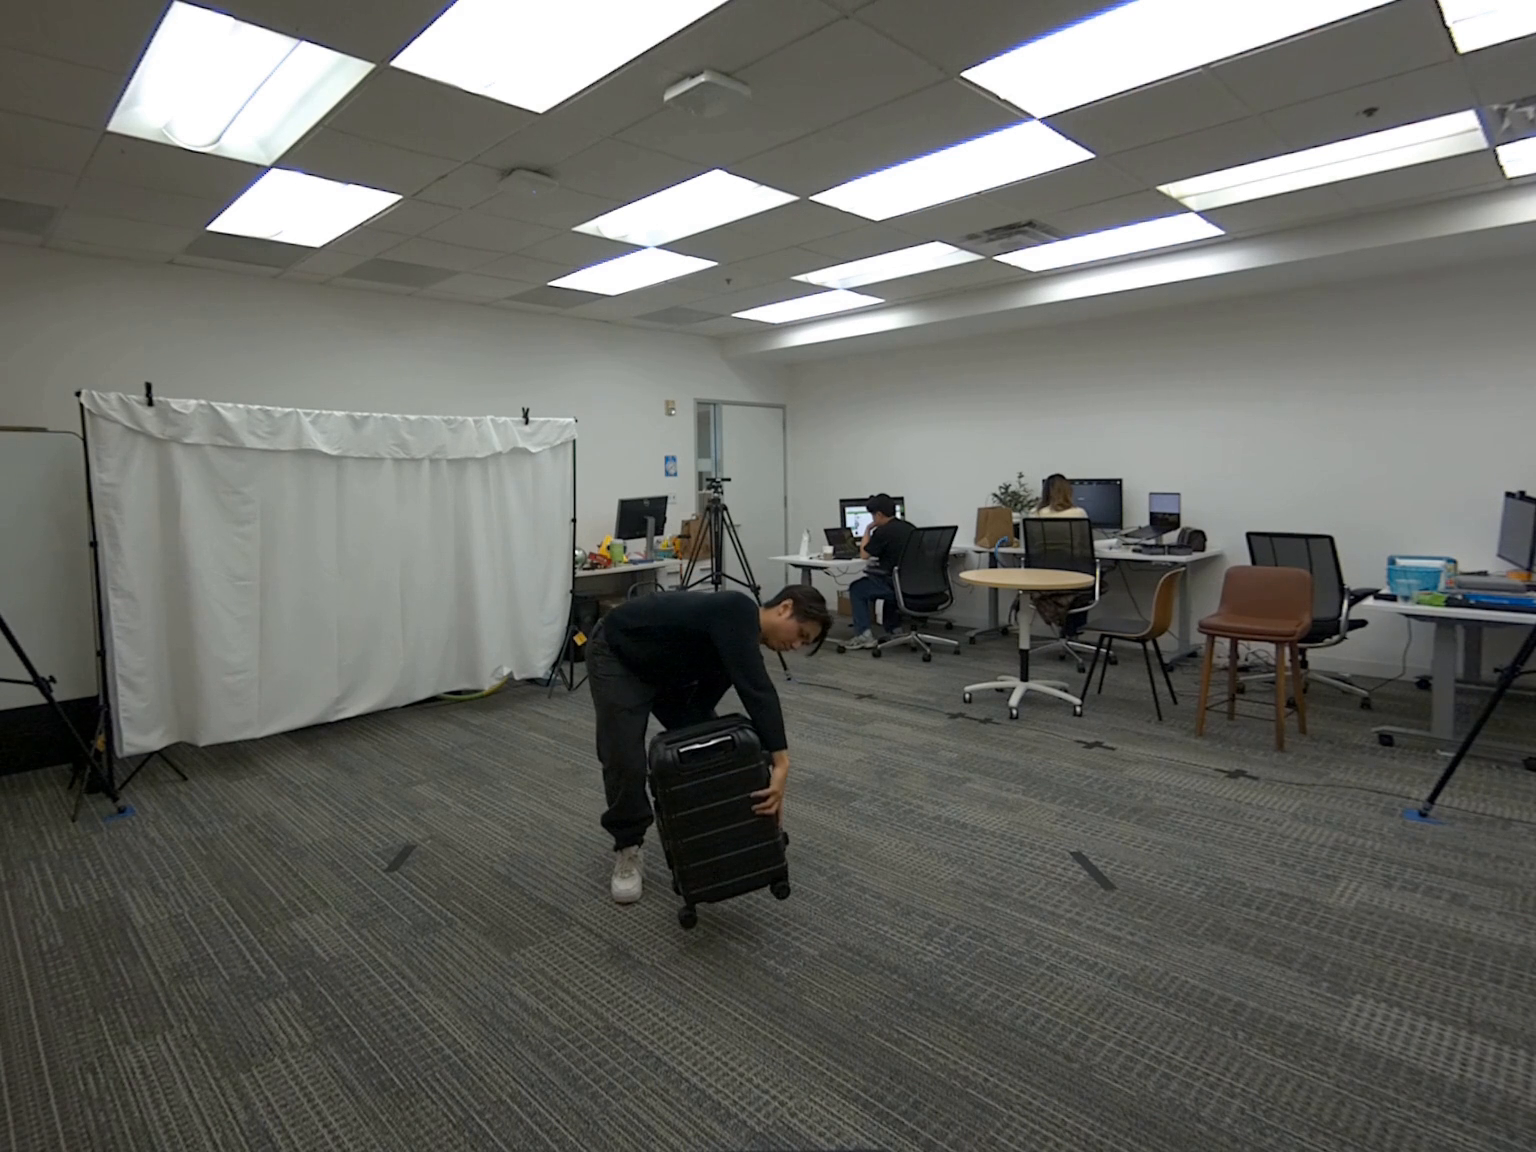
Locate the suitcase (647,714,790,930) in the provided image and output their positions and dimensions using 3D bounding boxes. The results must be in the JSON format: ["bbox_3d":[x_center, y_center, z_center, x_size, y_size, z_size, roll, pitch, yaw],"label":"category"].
[{"bbox_3d":[-0.162,0.724,2.647,0.373,0.546,0.252,-13,6,-9],"label":"suitcase"}]
